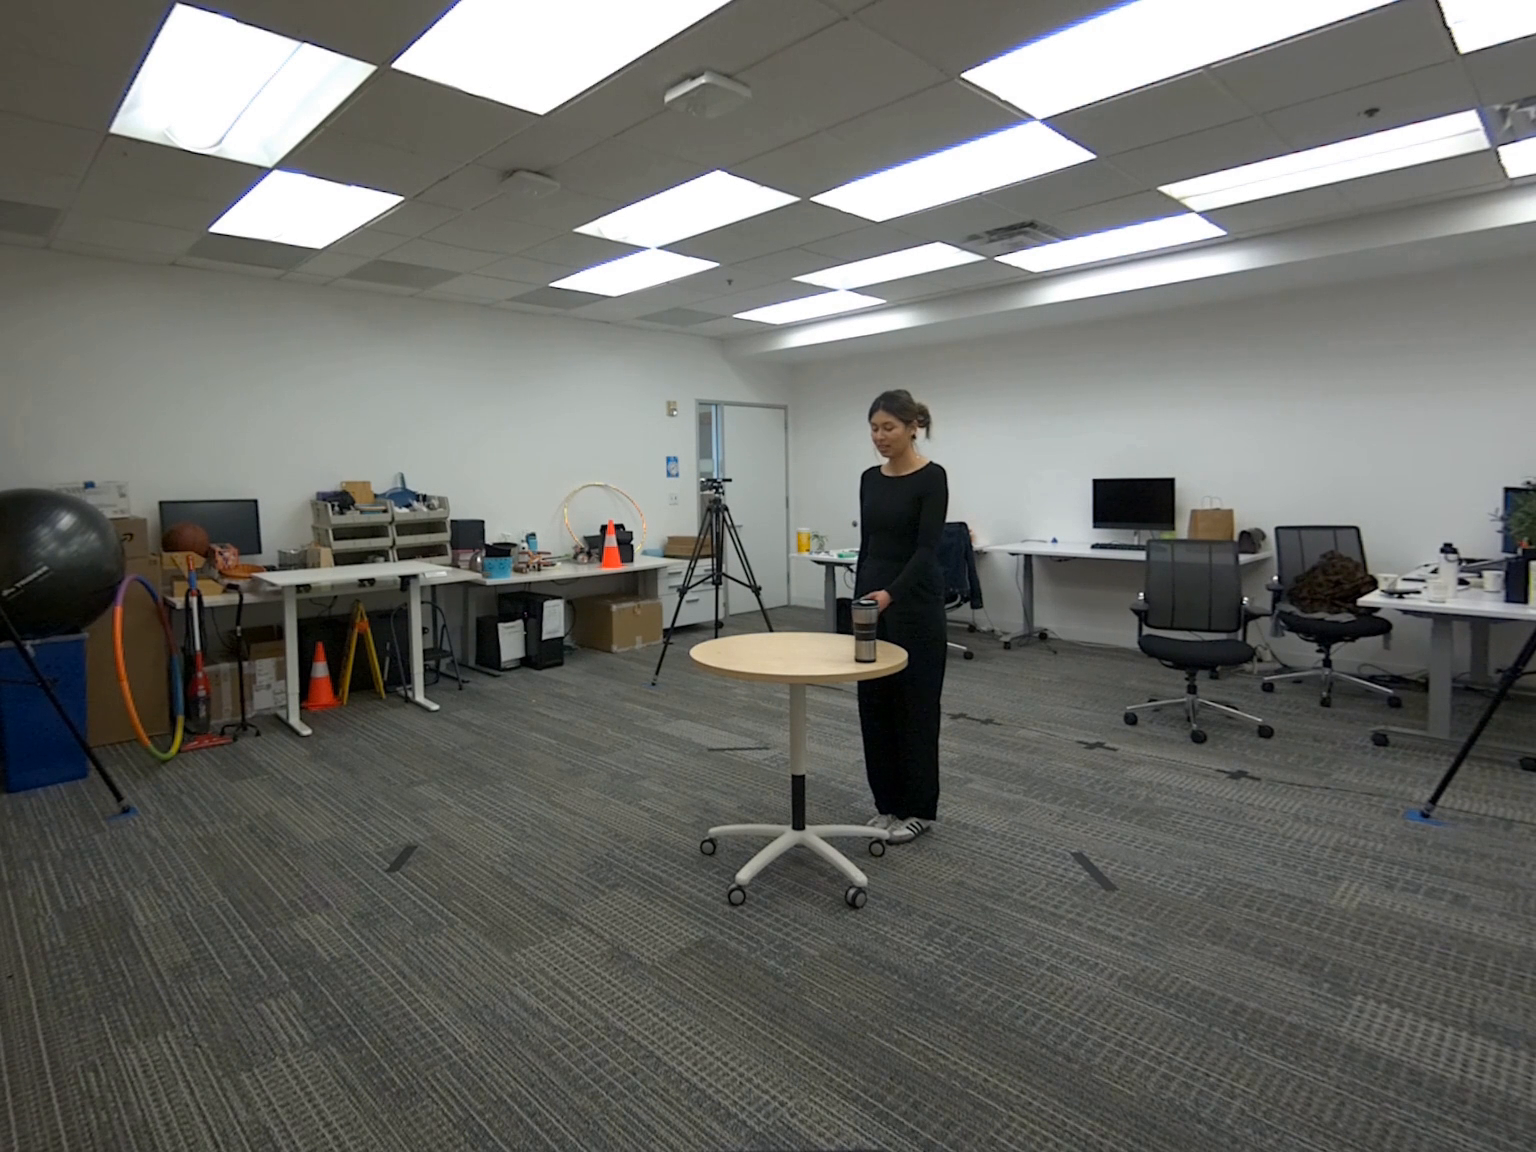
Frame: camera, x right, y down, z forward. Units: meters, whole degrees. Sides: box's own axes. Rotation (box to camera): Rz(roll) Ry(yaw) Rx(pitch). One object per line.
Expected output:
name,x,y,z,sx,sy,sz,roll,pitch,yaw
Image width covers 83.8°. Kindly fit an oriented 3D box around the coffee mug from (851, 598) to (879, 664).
coffee mug,0.345,0.181,2.851,0.090,0.202,0.119,-2,6,42
